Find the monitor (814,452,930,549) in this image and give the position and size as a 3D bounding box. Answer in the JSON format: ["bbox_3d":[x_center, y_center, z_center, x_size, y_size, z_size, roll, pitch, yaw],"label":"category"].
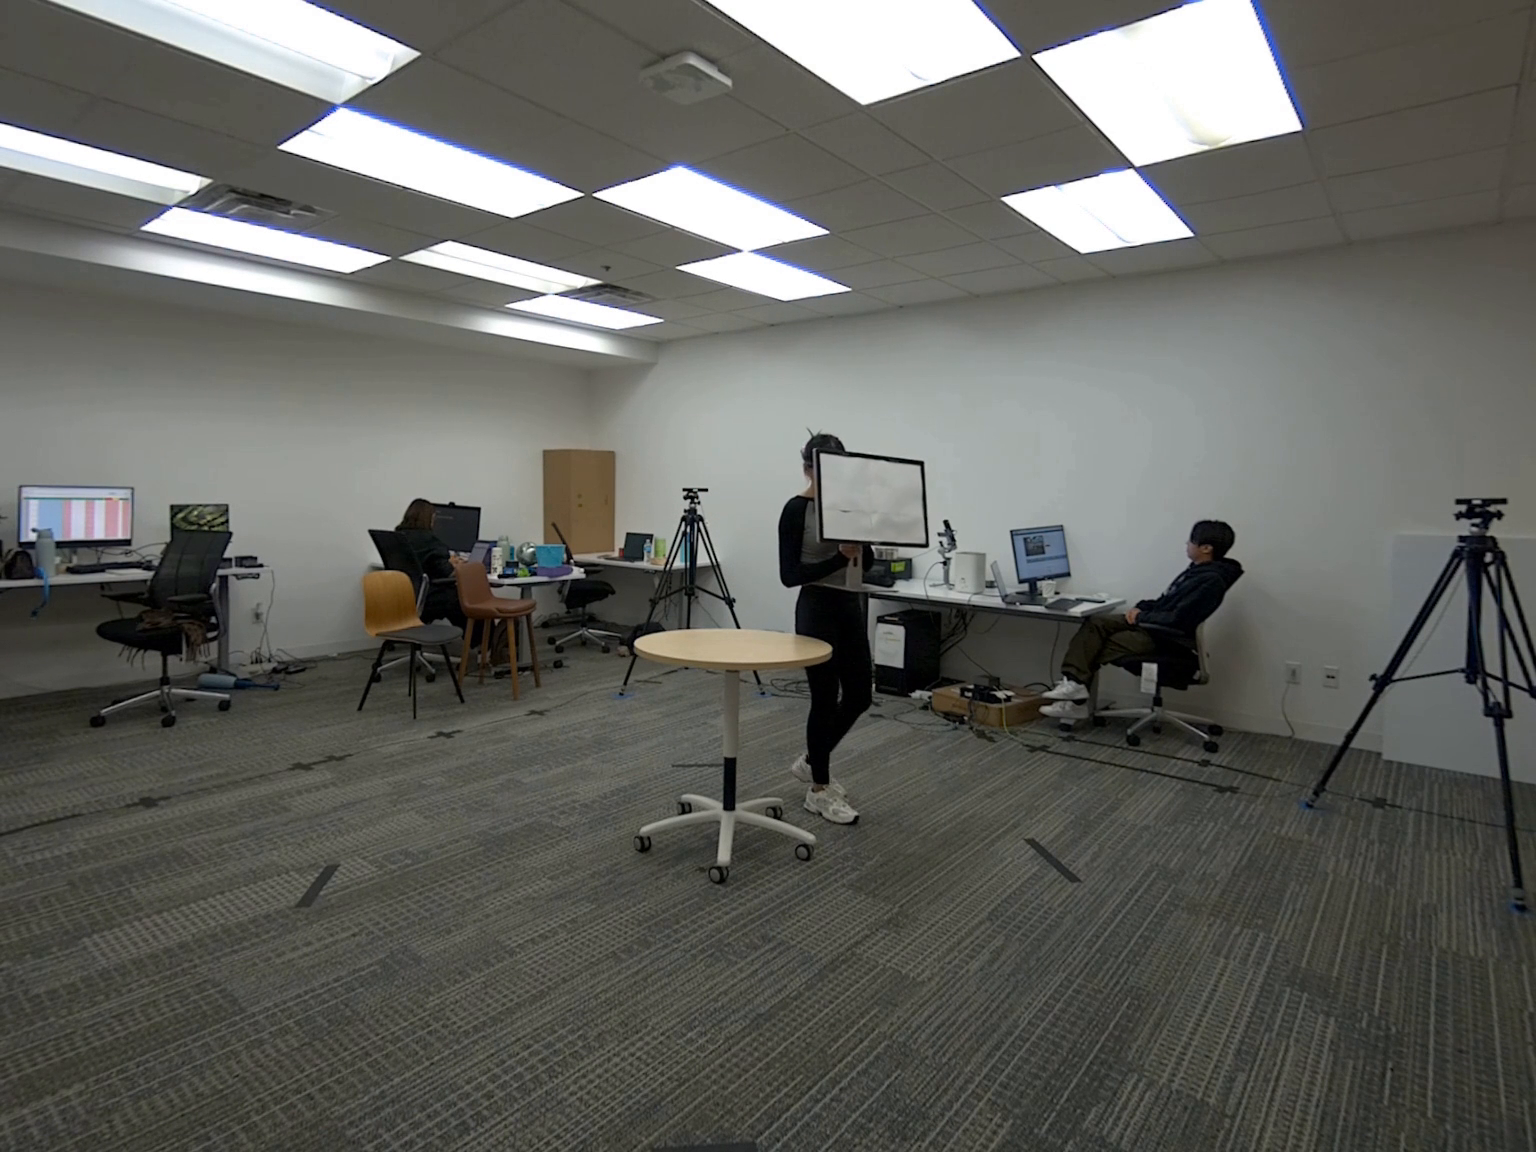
[{"bbox_3d":[0.383,-0.214,3.401,0.523,0.521,0.193,1,5,-35],"label":"monitor"}]
